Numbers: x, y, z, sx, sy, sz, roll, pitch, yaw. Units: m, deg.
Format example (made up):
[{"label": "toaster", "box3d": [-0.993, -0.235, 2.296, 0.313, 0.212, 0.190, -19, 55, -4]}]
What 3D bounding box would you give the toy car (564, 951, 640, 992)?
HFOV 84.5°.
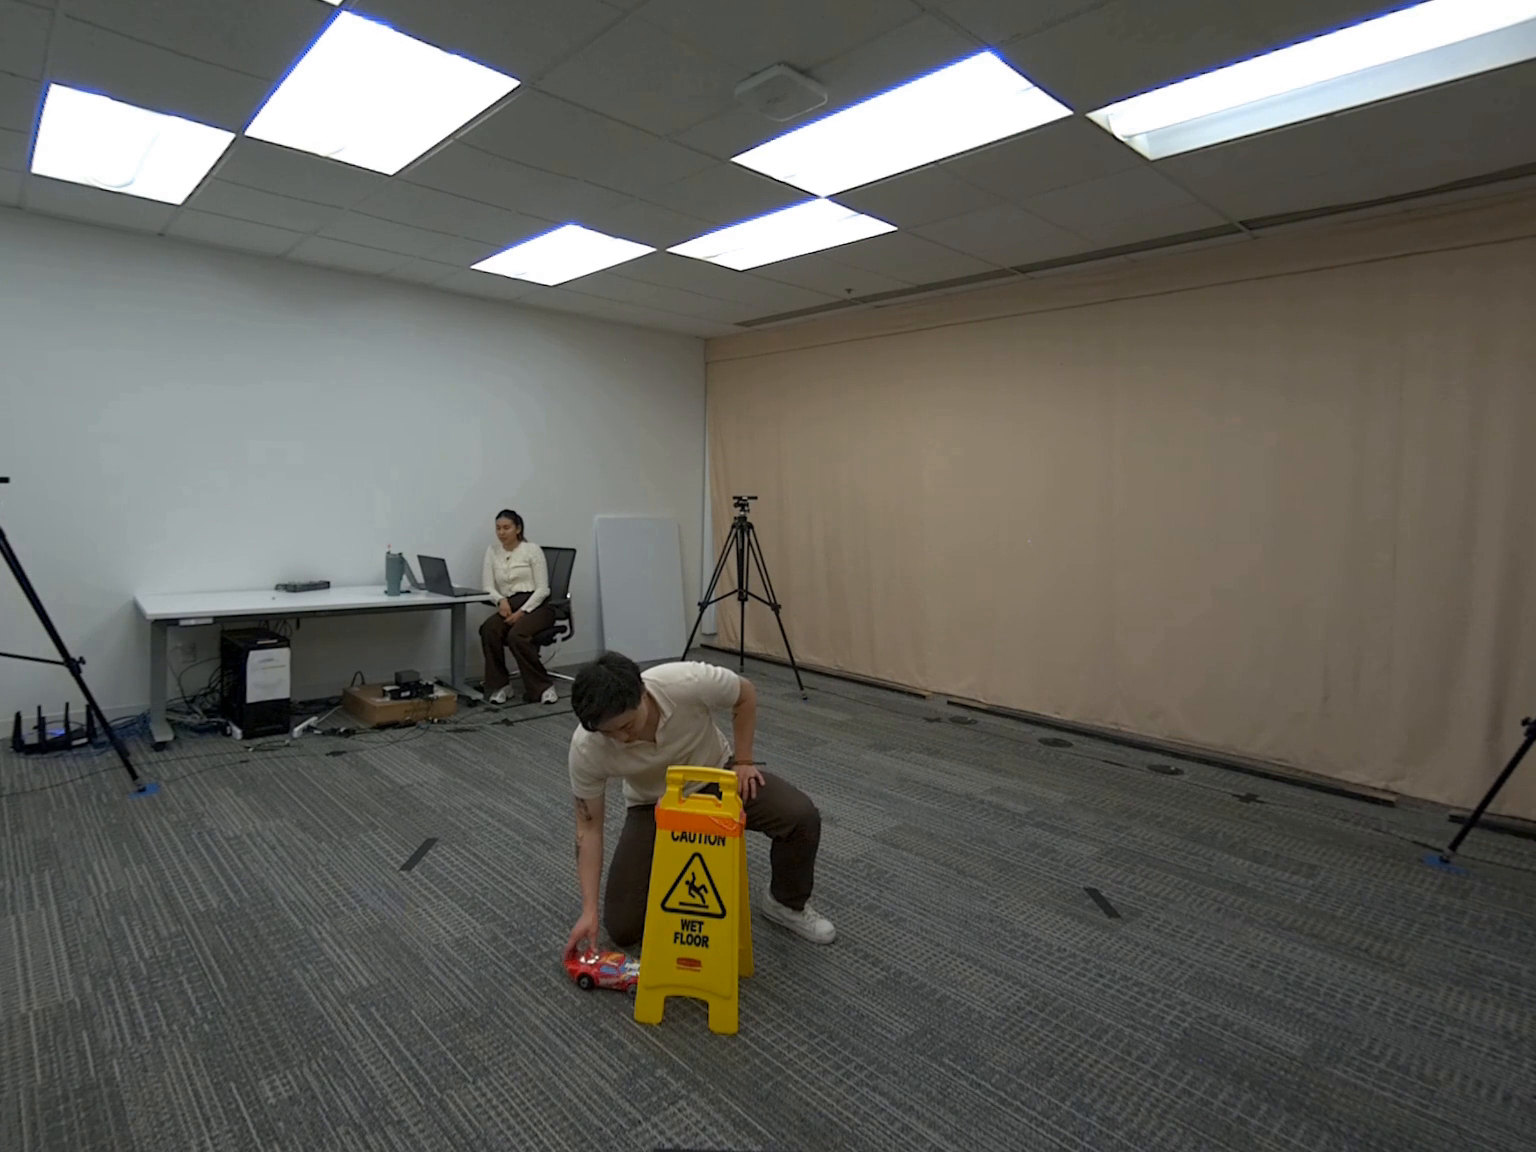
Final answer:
[{"label": "toy car", "box3d": [-0.445, 1.127, 2.400, 0.257, 0.083, 0.129, 12, 5, 11]}]
